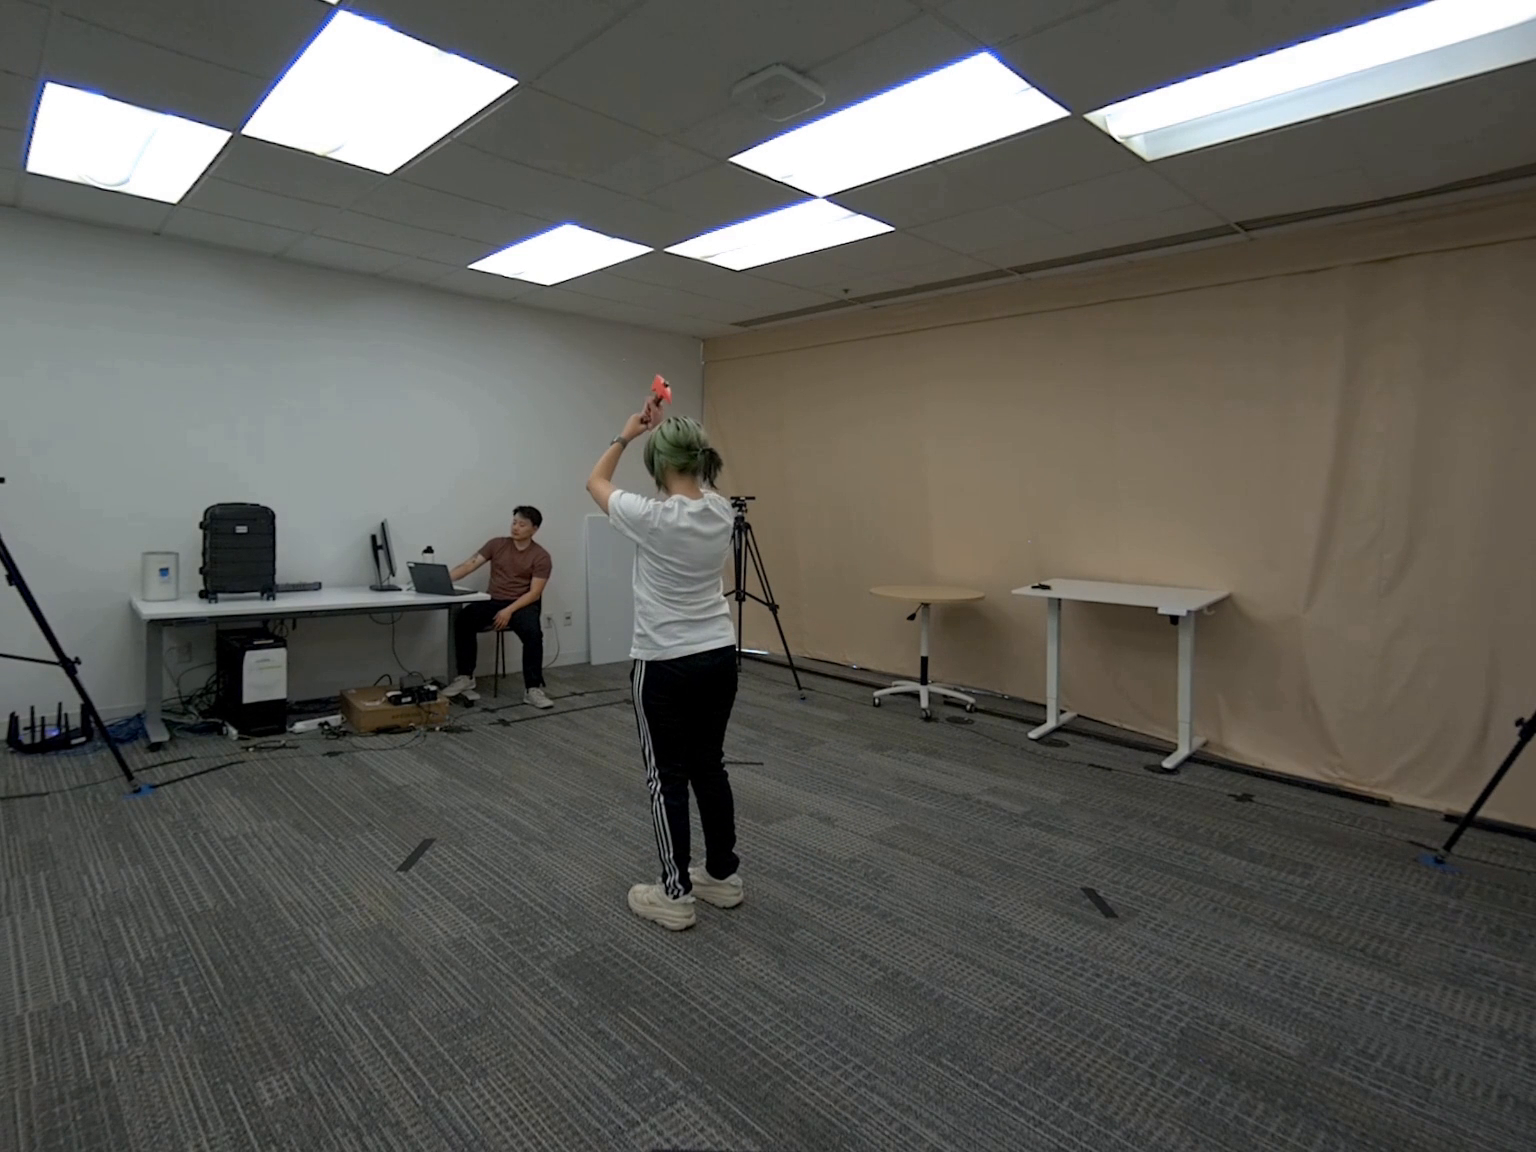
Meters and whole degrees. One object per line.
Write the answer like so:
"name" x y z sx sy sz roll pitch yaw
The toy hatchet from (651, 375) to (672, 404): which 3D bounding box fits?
"toy hatchet" -0.439 -0.596 2.938 0.029 0.133 0.273 3 -21 -41
